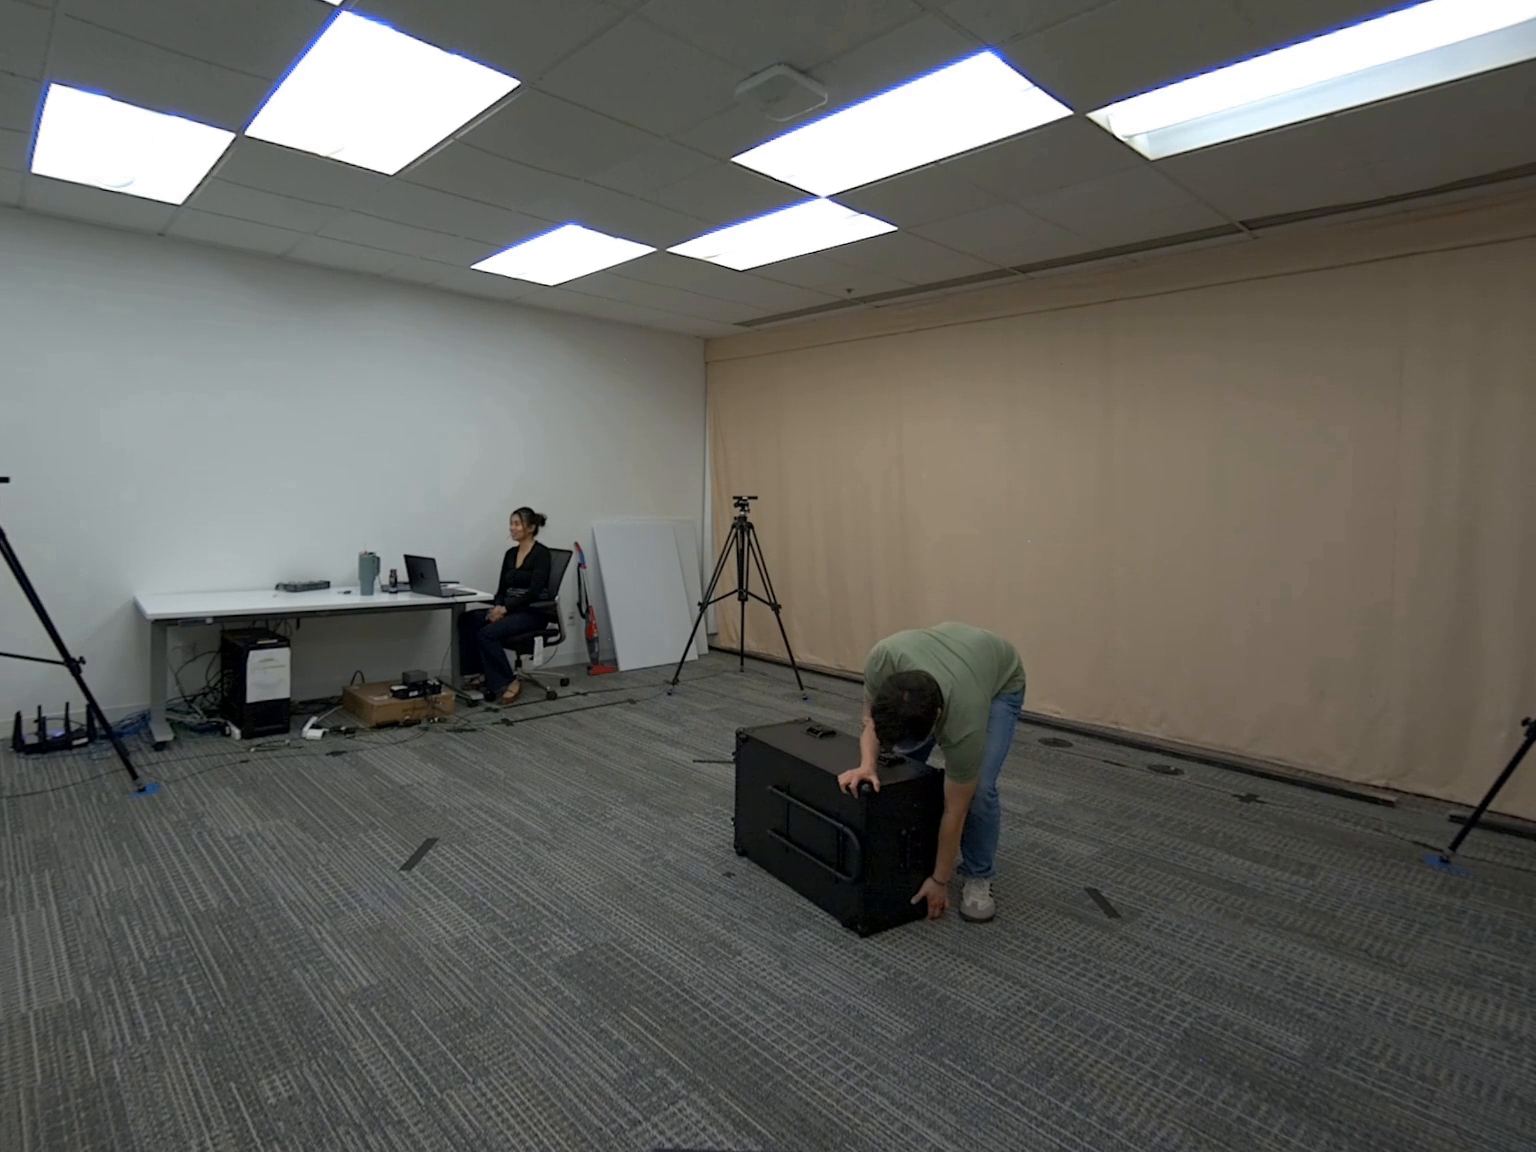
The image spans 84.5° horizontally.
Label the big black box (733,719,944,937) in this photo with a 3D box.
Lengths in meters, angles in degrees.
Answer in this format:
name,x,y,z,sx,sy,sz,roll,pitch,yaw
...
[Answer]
name,x,y,z,sx,sy,sz,roll,pitch,yaw
big black box,0.191,0.868,3.104,0.388,0.520,0.881,-1,4,-32
